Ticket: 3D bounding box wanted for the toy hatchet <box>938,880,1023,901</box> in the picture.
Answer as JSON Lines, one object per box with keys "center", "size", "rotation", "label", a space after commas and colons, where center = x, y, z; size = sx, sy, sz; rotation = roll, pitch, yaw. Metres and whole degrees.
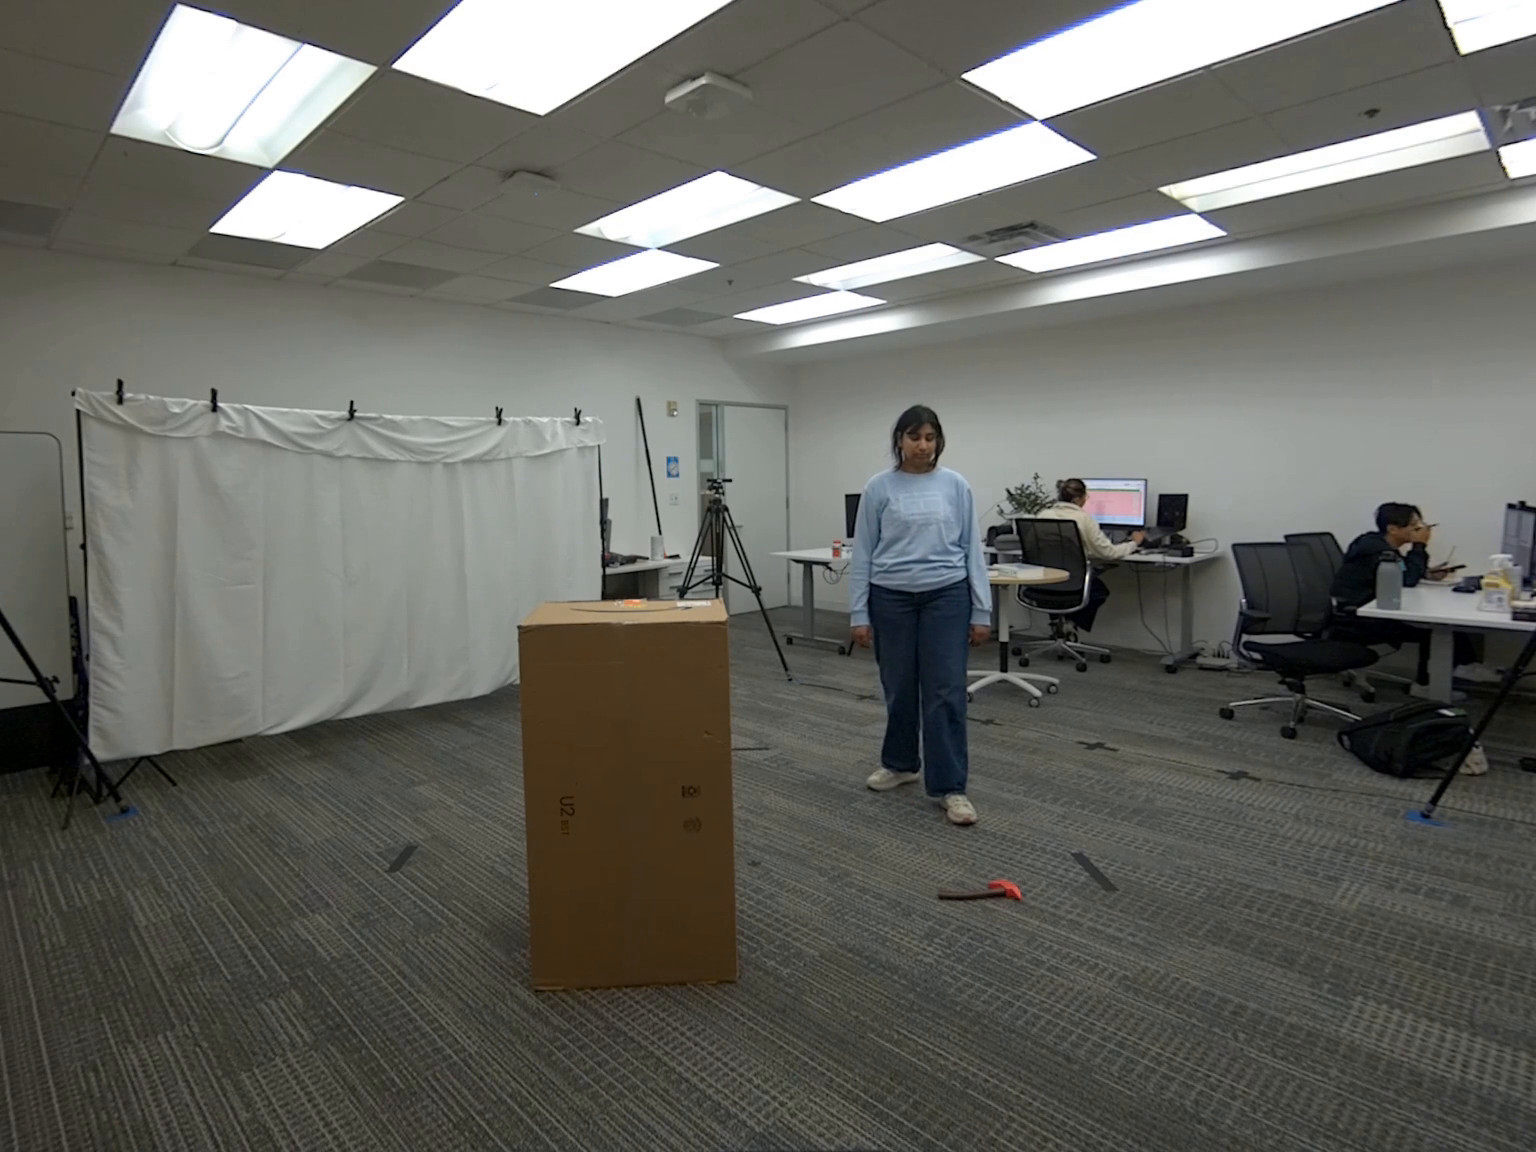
{"center": [0.706, 1.048, 2.859], "size": [0.272, 0.029, 0.131], "rotation": [-1, 8, 7], "label": "toy hatchet"}
